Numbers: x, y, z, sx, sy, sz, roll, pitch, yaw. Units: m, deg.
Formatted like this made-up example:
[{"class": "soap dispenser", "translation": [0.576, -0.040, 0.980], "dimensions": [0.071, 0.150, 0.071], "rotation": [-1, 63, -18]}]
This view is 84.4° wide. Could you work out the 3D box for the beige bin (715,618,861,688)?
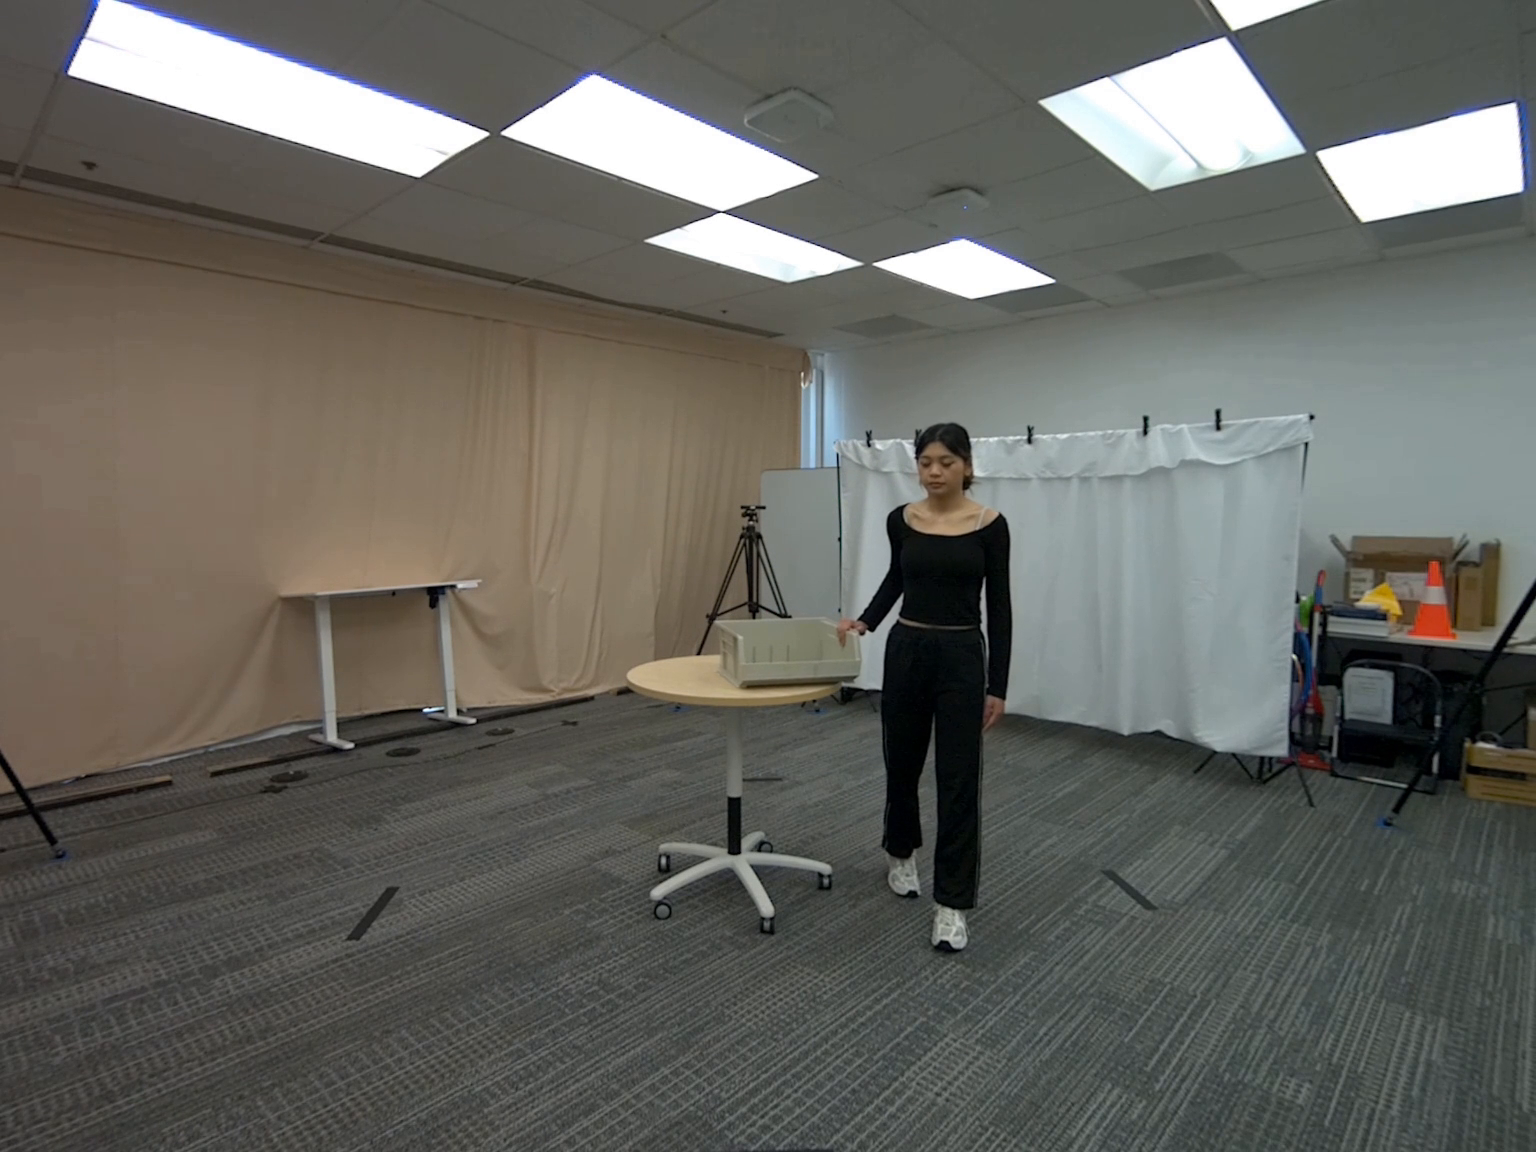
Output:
[{"class": "beige bin", "translation": [0.064, 0.264, 2.933], "dimensions": [0.416, 0.188, 0.384], "rotation": [-1, 3, -15]}]
